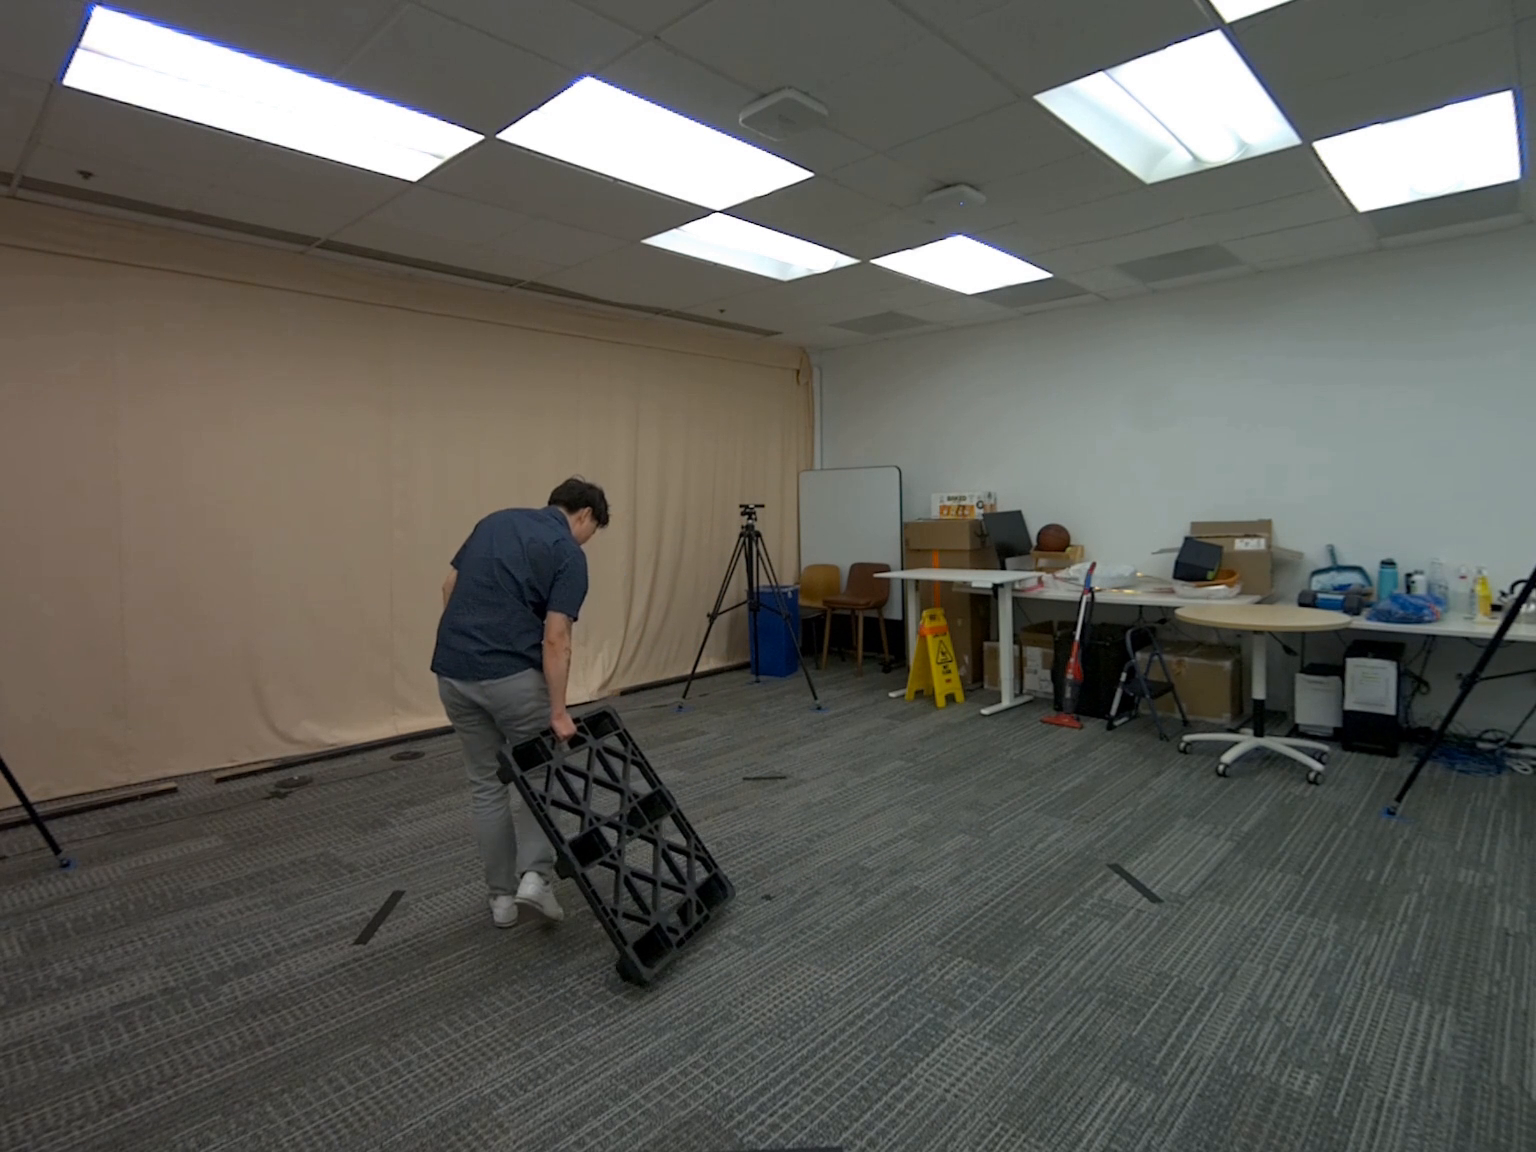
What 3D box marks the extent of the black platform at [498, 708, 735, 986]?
[{"bbox_3d":[-0.495,0.848,2.741,0.144,0.819,0.591,-43,-14,22],"label":"black platform"}]
